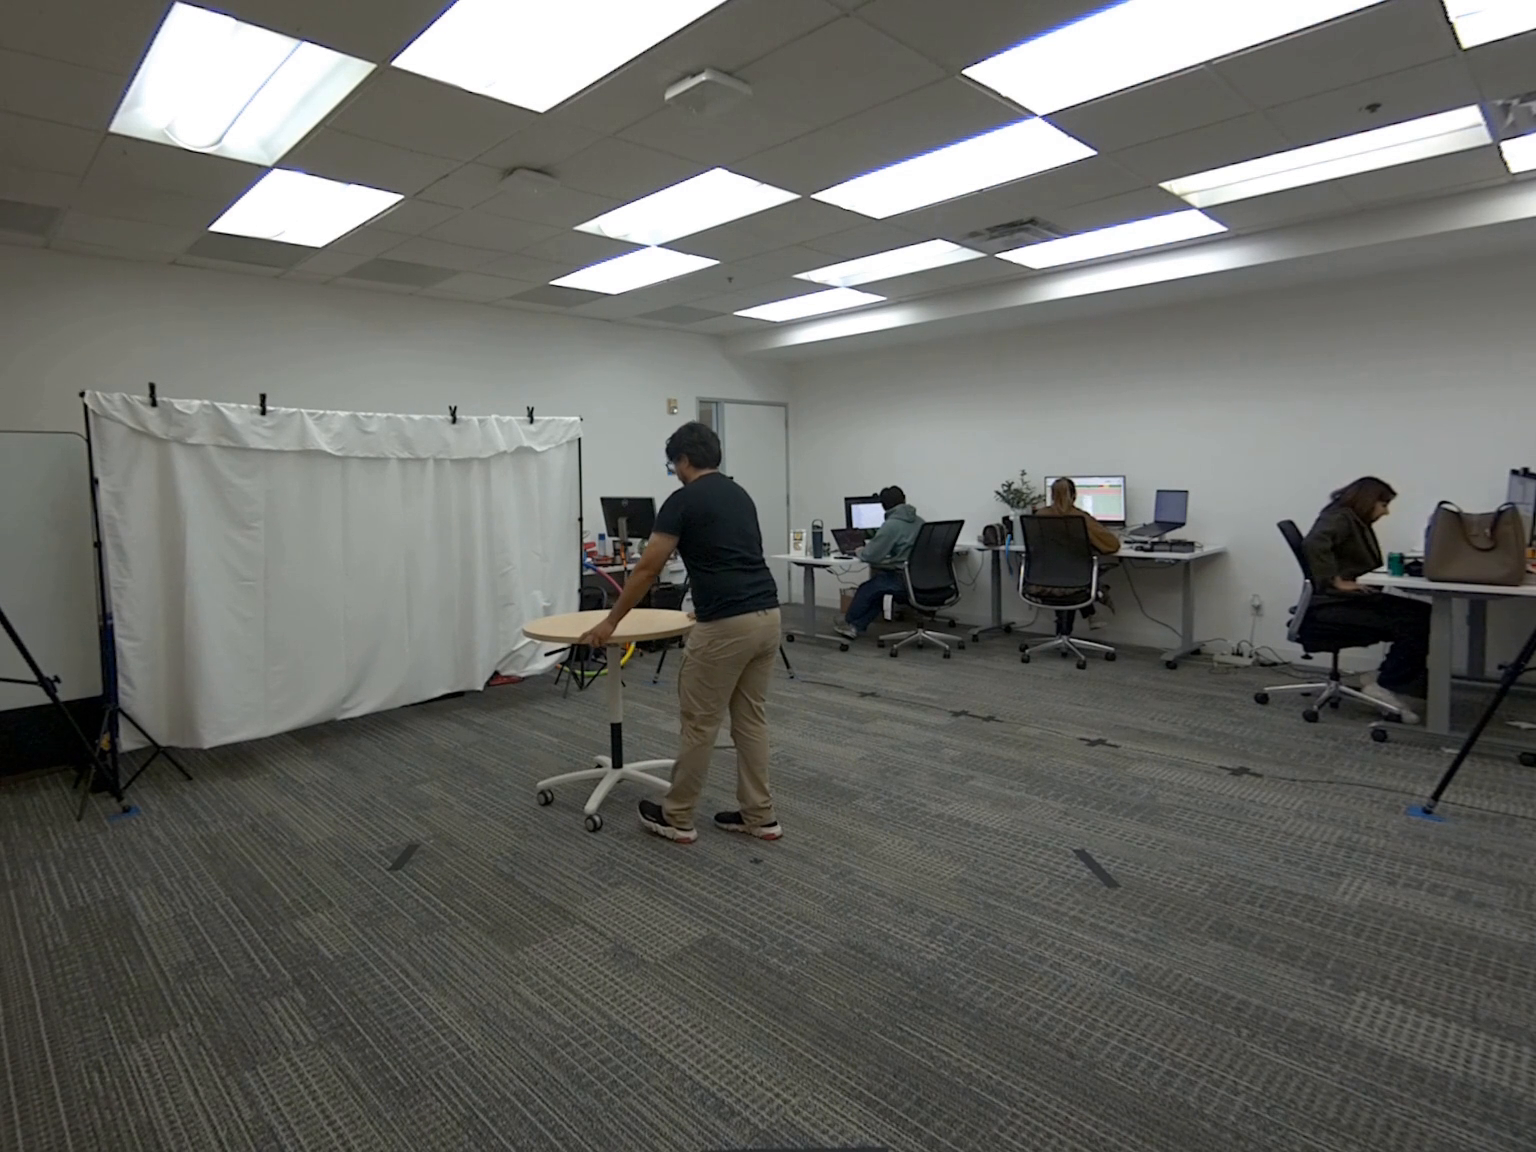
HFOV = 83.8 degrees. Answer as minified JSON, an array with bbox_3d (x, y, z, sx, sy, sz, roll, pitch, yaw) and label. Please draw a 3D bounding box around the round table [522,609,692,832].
[{"bbox_3d":[-0.665,0.584,3.713,0.784,0.784,0.789,-2,4,-2],"label":"round table"}]
